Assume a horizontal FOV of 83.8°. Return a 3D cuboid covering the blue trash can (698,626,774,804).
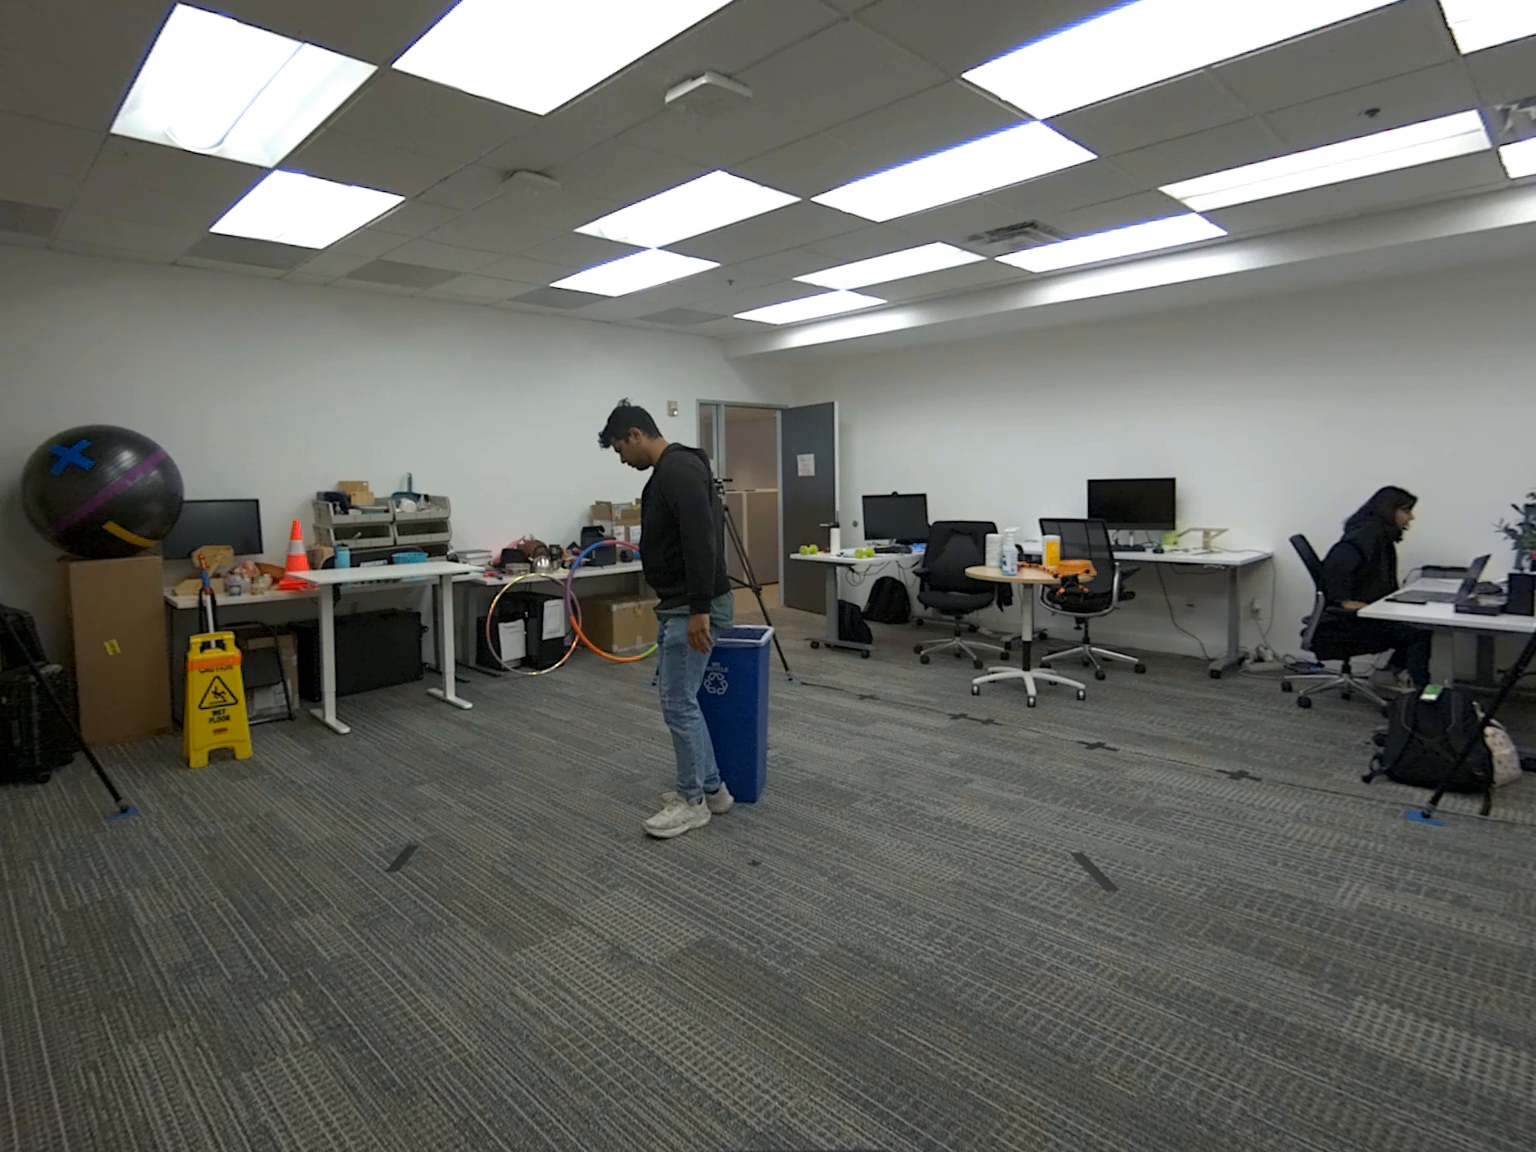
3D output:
[{"bbox_3d":[-0.171,0.607,3.830,0.382,0.711,0.371,1,3,10],"label":"blue trash can"}]
